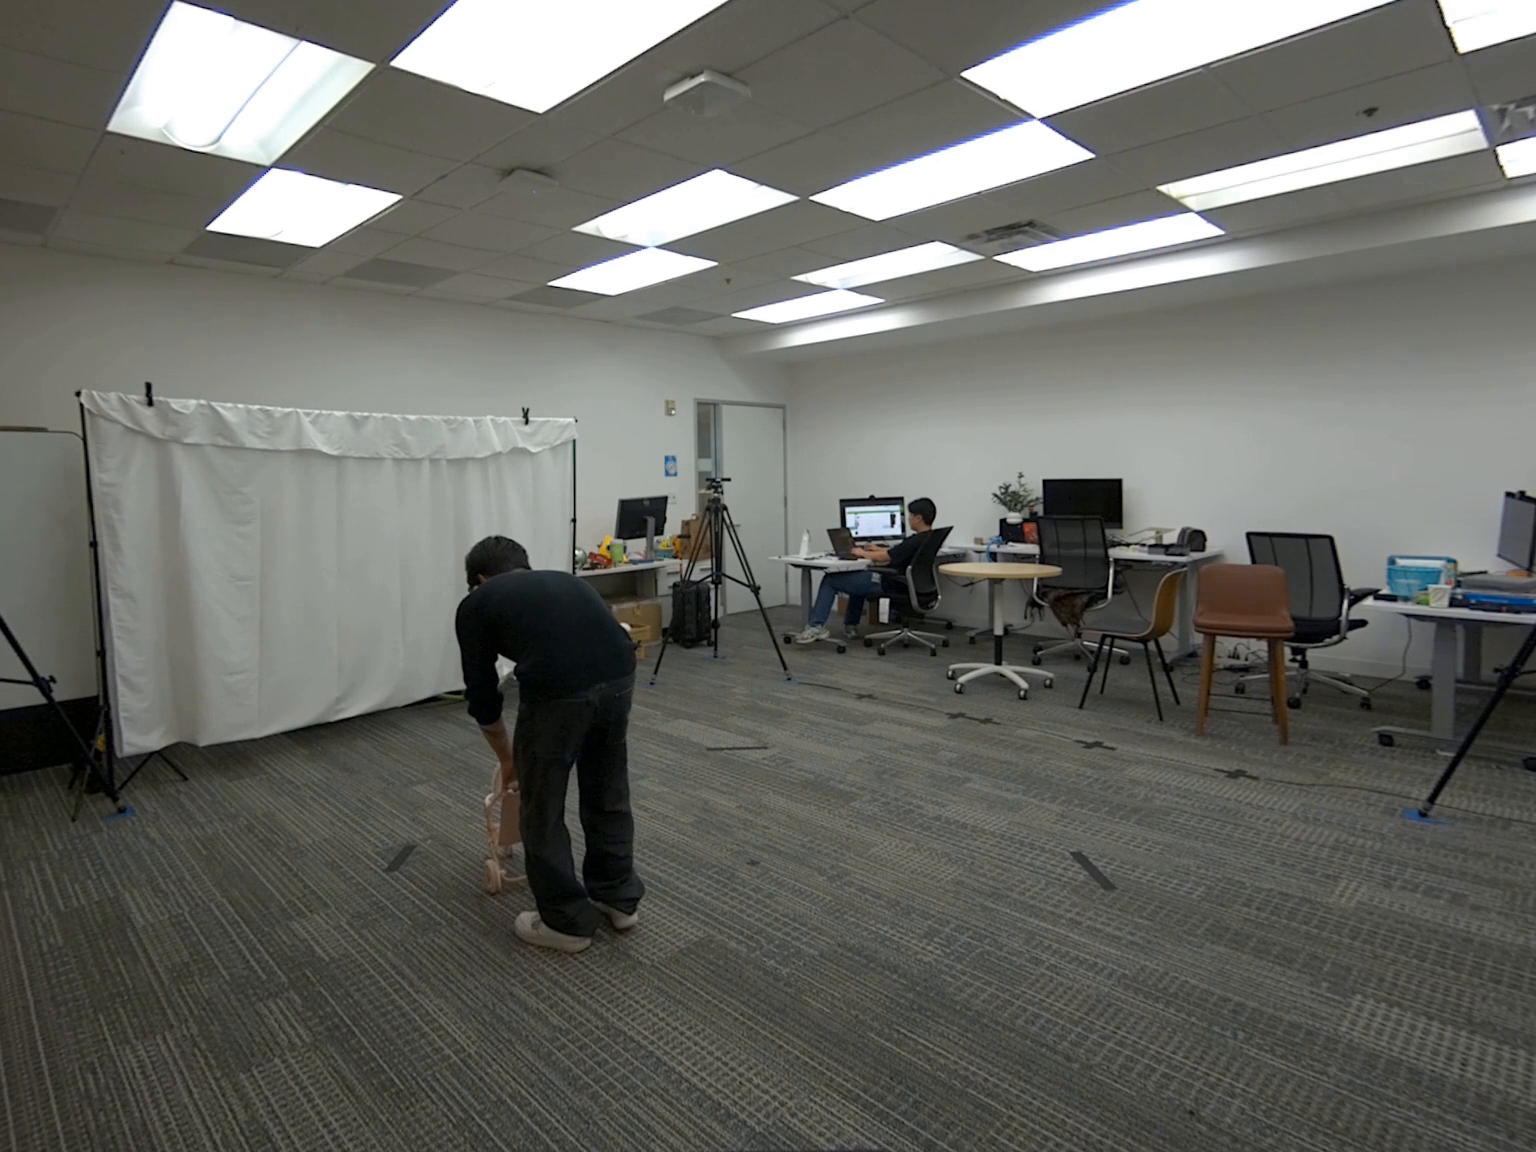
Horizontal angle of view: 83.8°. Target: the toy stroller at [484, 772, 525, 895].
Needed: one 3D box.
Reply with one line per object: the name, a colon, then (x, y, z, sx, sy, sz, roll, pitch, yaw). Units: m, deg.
toy stroller: (-0.869, 0.846, 3.028, 0.275, 0.527, 0.354, -3, 22, -26)
